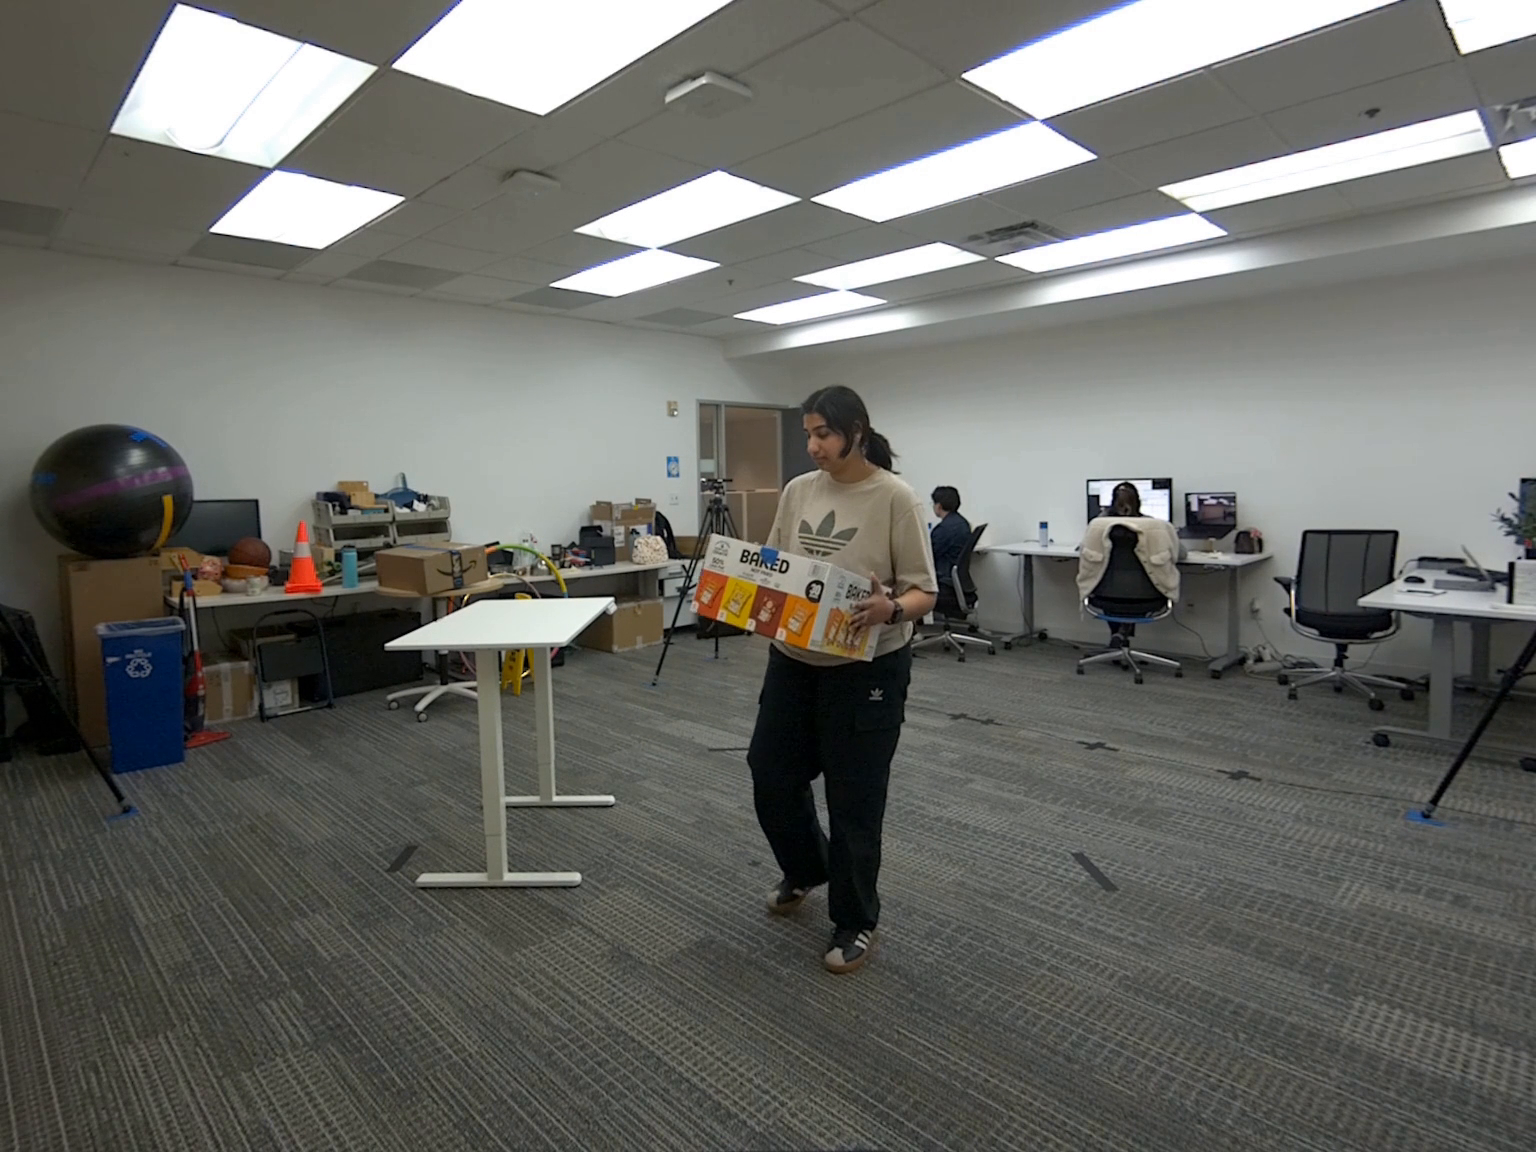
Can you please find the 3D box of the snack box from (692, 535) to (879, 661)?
[{"bbox_3d":[0.069,0.062,2.186,0.351,0.206,0.392,15,-2,29],"label":"snack box"}]
